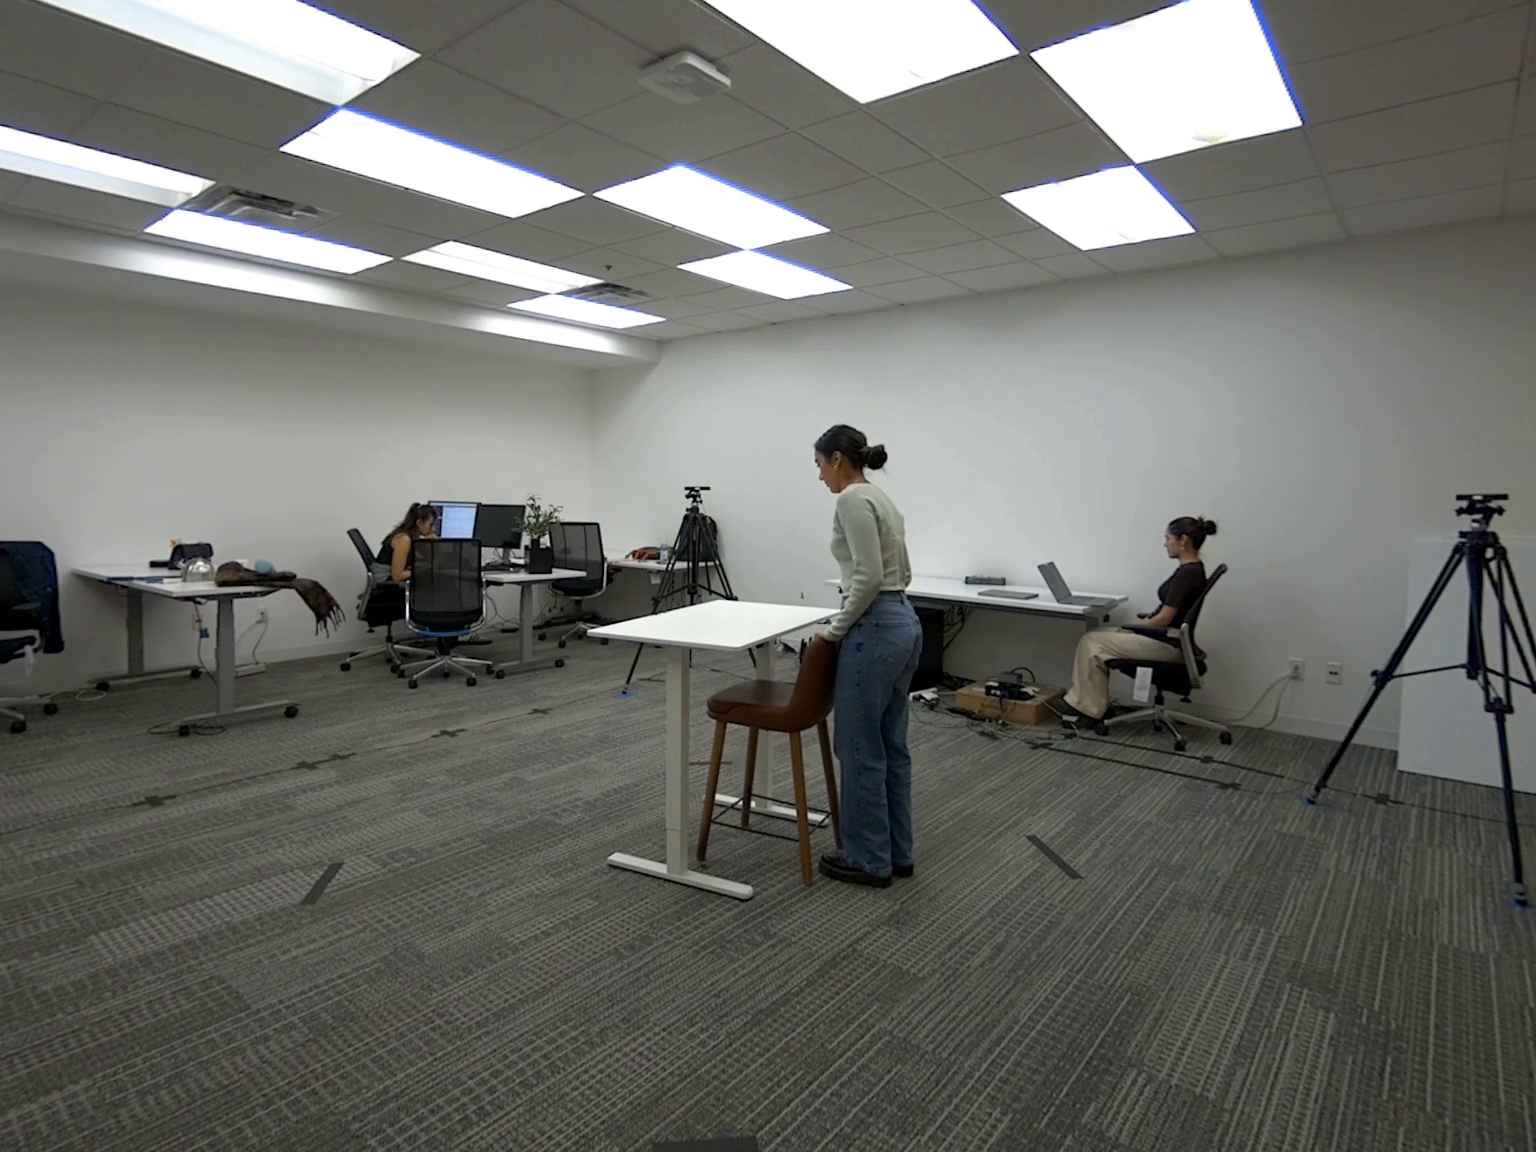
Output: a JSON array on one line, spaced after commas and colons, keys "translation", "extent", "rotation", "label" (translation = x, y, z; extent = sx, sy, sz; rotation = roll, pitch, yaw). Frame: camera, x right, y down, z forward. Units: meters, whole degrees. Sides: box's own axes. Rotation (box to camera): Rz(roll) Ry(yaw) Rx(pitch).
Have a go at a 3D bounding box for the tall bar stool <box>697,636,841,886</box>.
[{"translation": [0.030, 0.623, 3.227], "extent": [0.480, 0.887, 0.446], "rotation": [5, 4, 25], "label": "tall bar stool"}]
